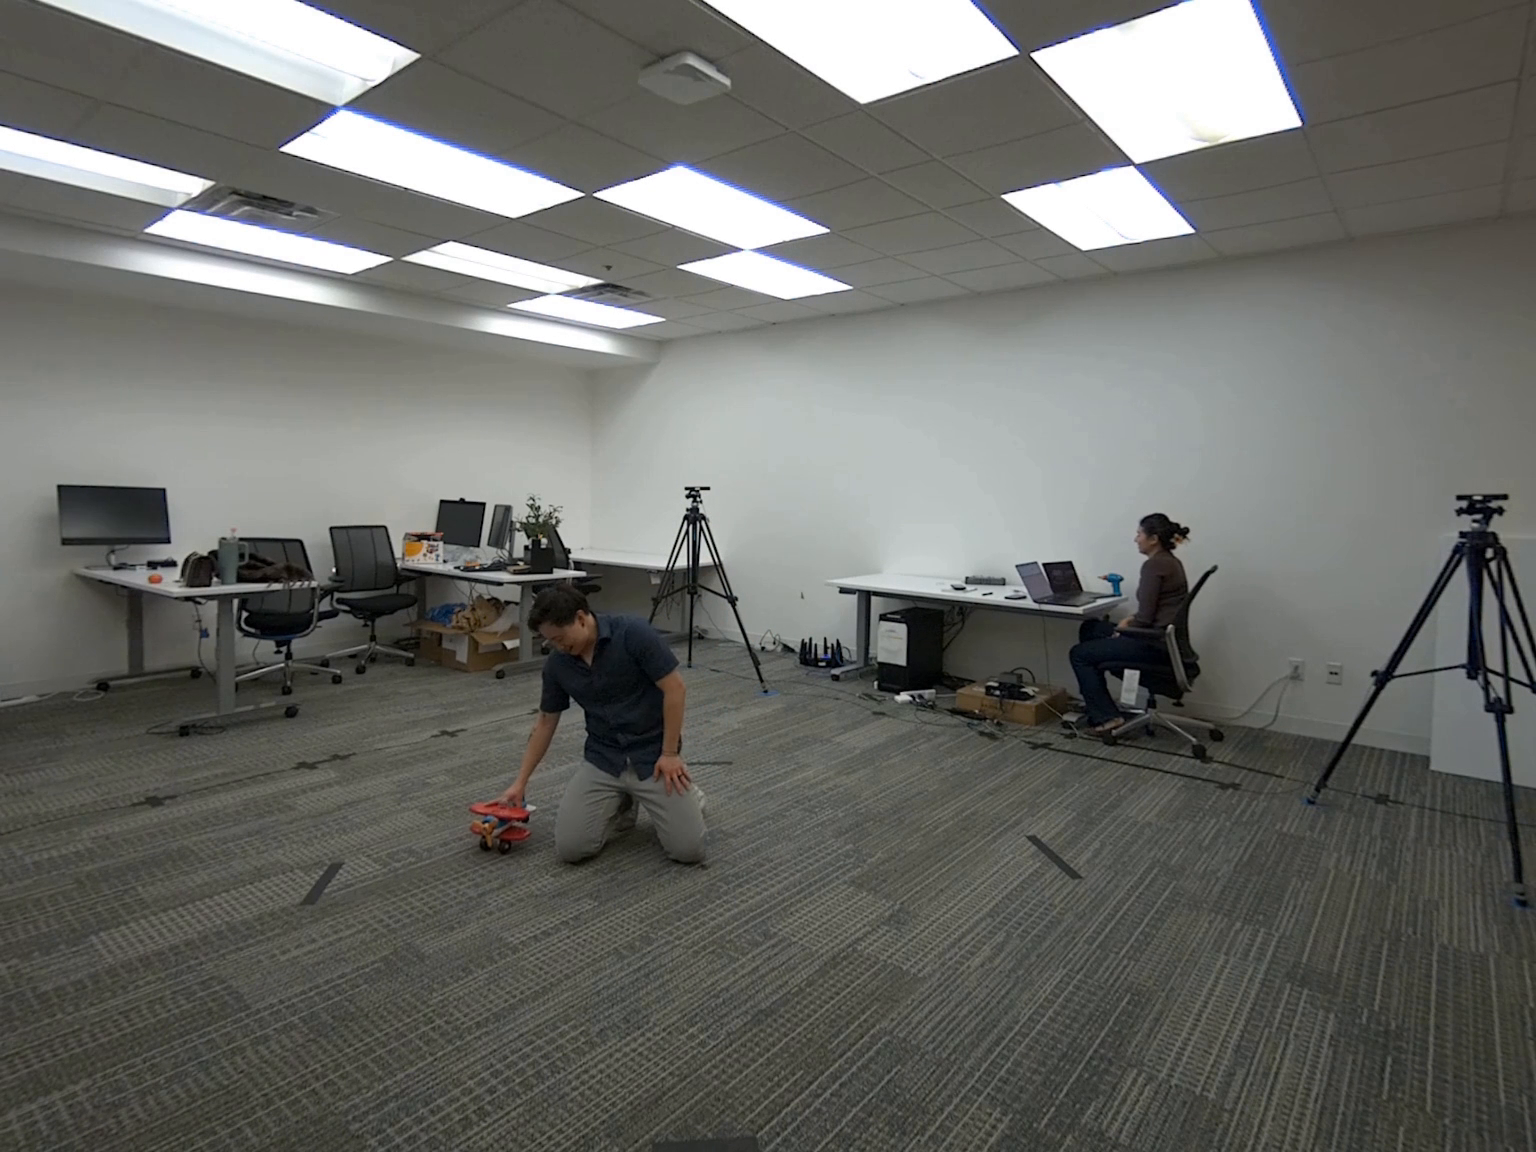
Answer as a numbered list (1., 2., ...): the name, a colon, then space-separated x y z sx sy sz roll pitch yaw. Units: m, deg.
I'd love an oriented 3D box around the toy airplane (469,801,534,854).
1. toy airplane: -1.047 0.945 3.299 0.250 0.153 0.266 -8 20 -7
